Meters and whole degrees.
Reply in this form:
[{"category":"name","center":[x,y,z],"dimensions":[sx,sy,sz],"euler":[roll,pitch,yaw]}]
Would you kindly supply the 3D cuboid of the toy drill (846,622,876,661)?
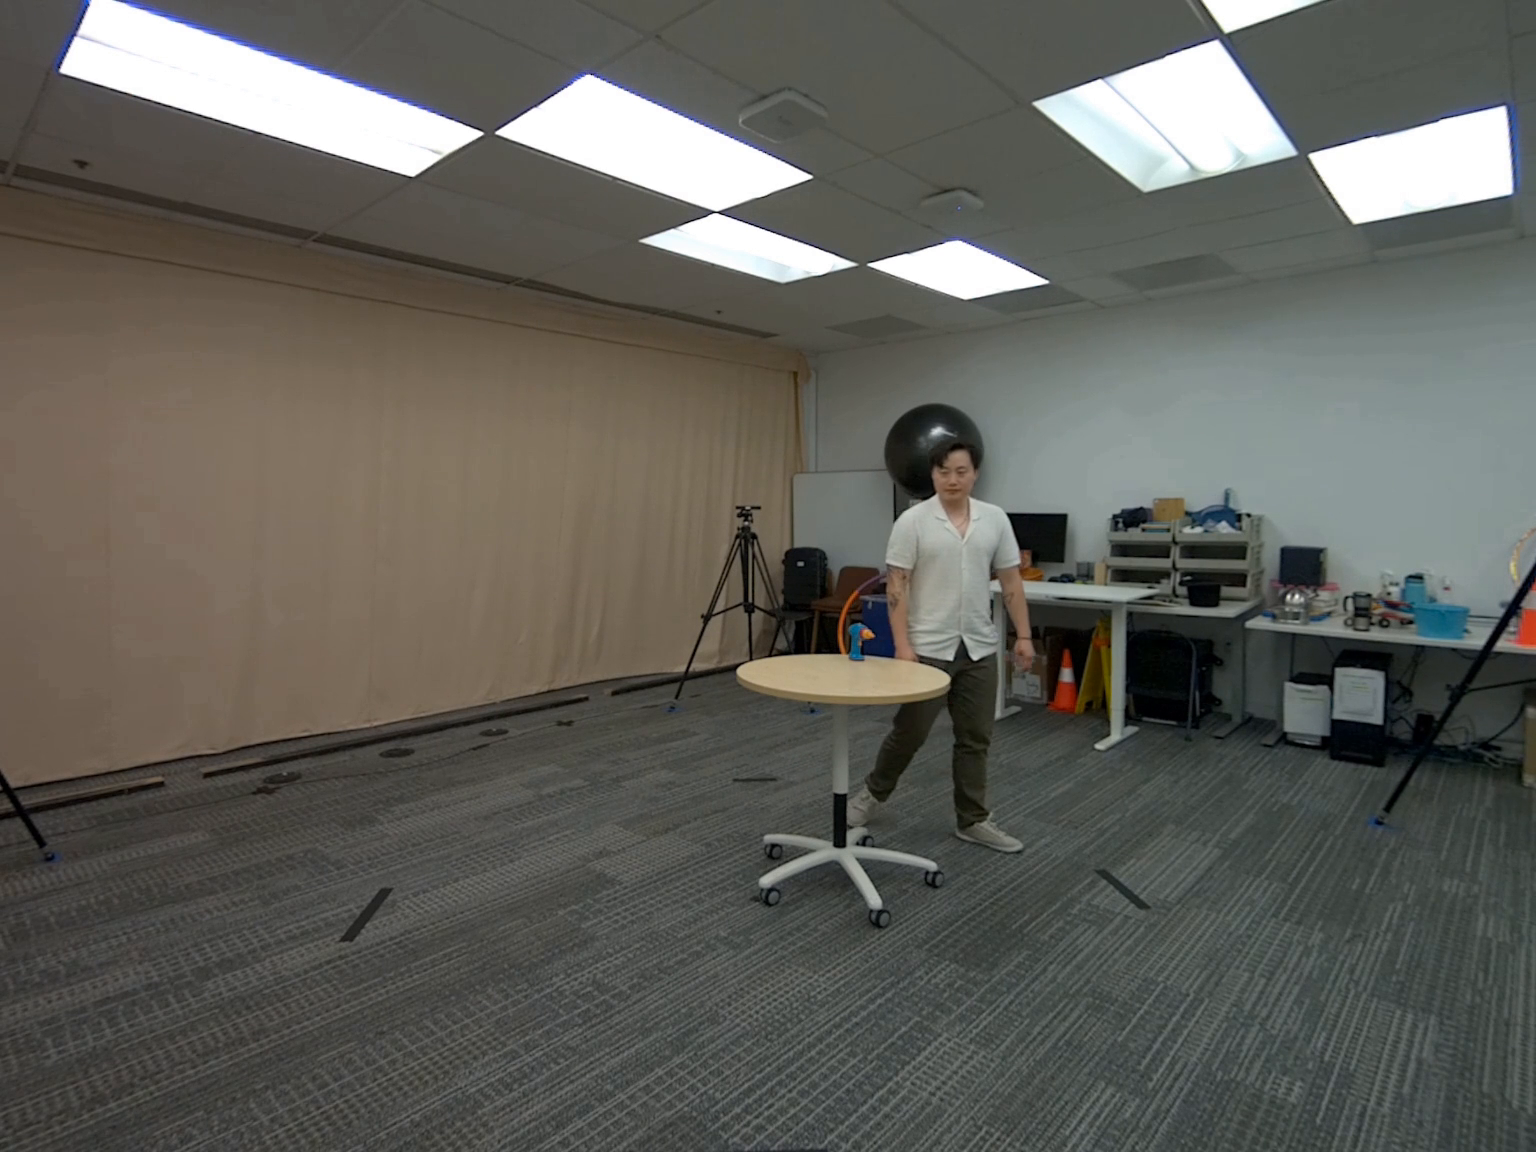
[{"category":"toy drill","center":[0.372,0.263,3.289],"dimensions":[0.060,0.146,0.174],"euler":[0,4,-24]}]
